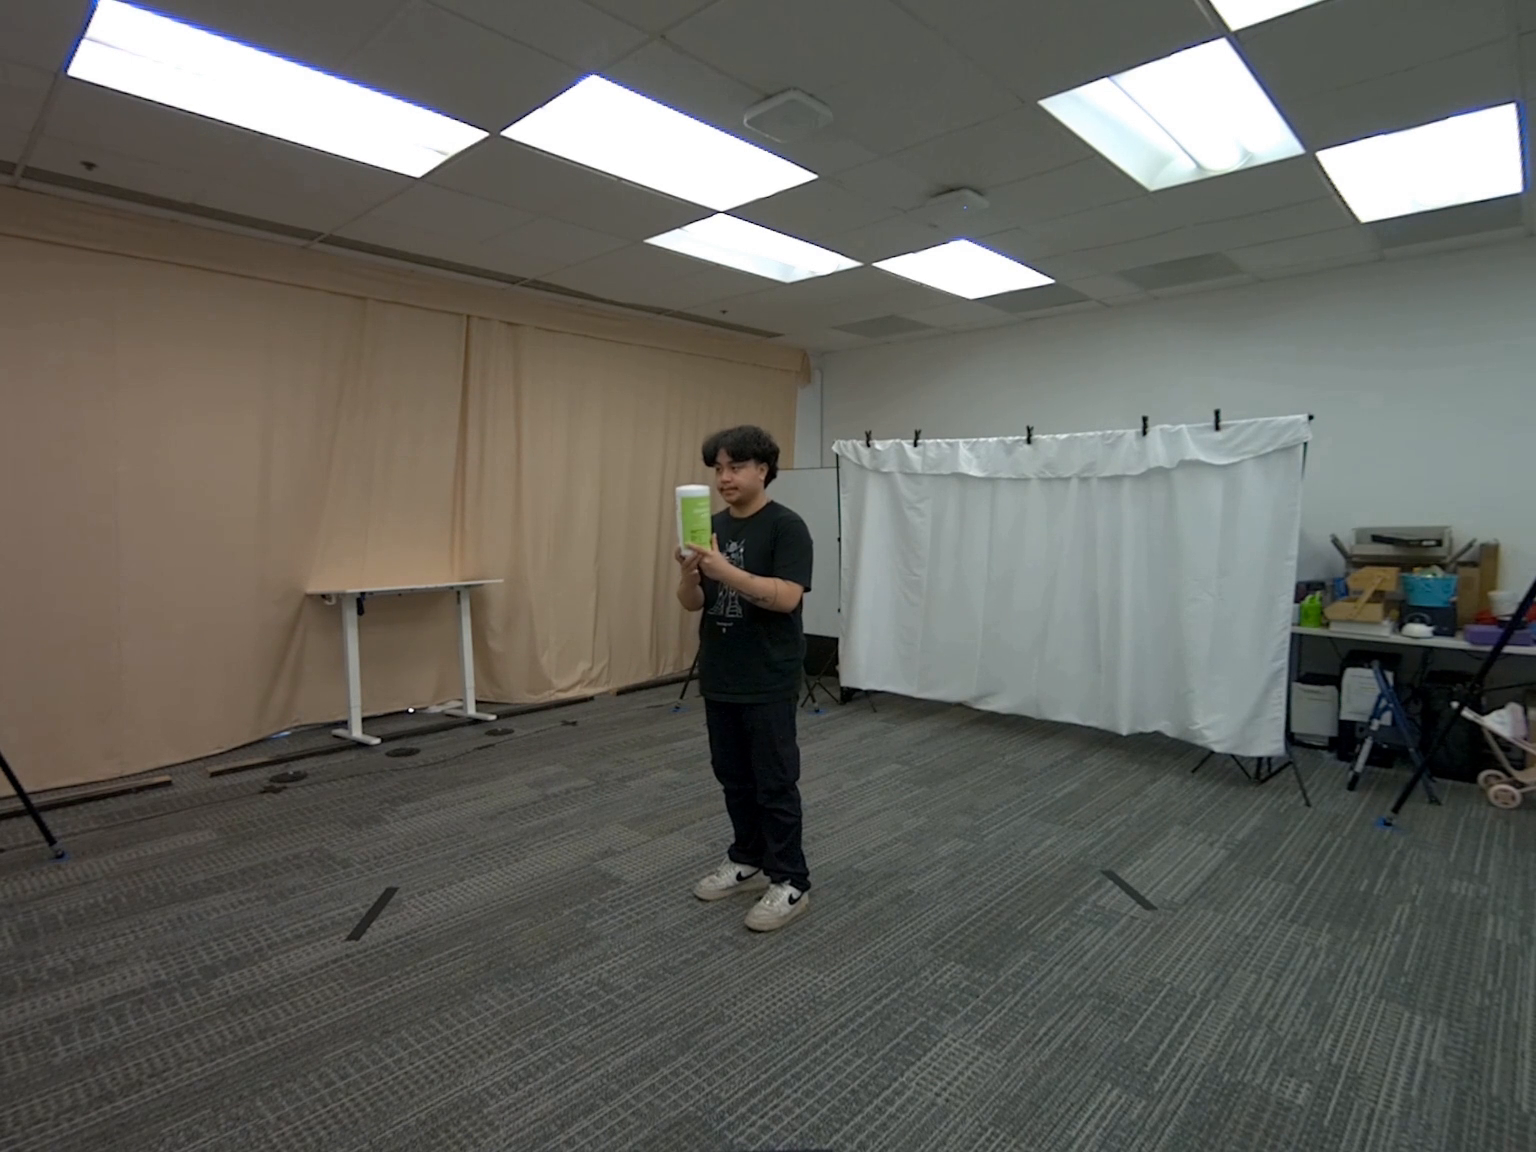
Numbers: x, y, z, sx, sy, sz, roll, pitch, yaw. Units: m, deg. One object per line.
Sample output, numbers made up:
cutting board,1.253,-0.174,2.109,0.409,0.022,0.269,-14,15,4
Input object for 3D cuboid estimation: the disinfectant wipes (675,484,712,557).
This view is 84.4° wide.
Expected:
disinfectant wipes,-0.237,-0.175,2.666,0.118,0.216,0.119,0,10,-2
